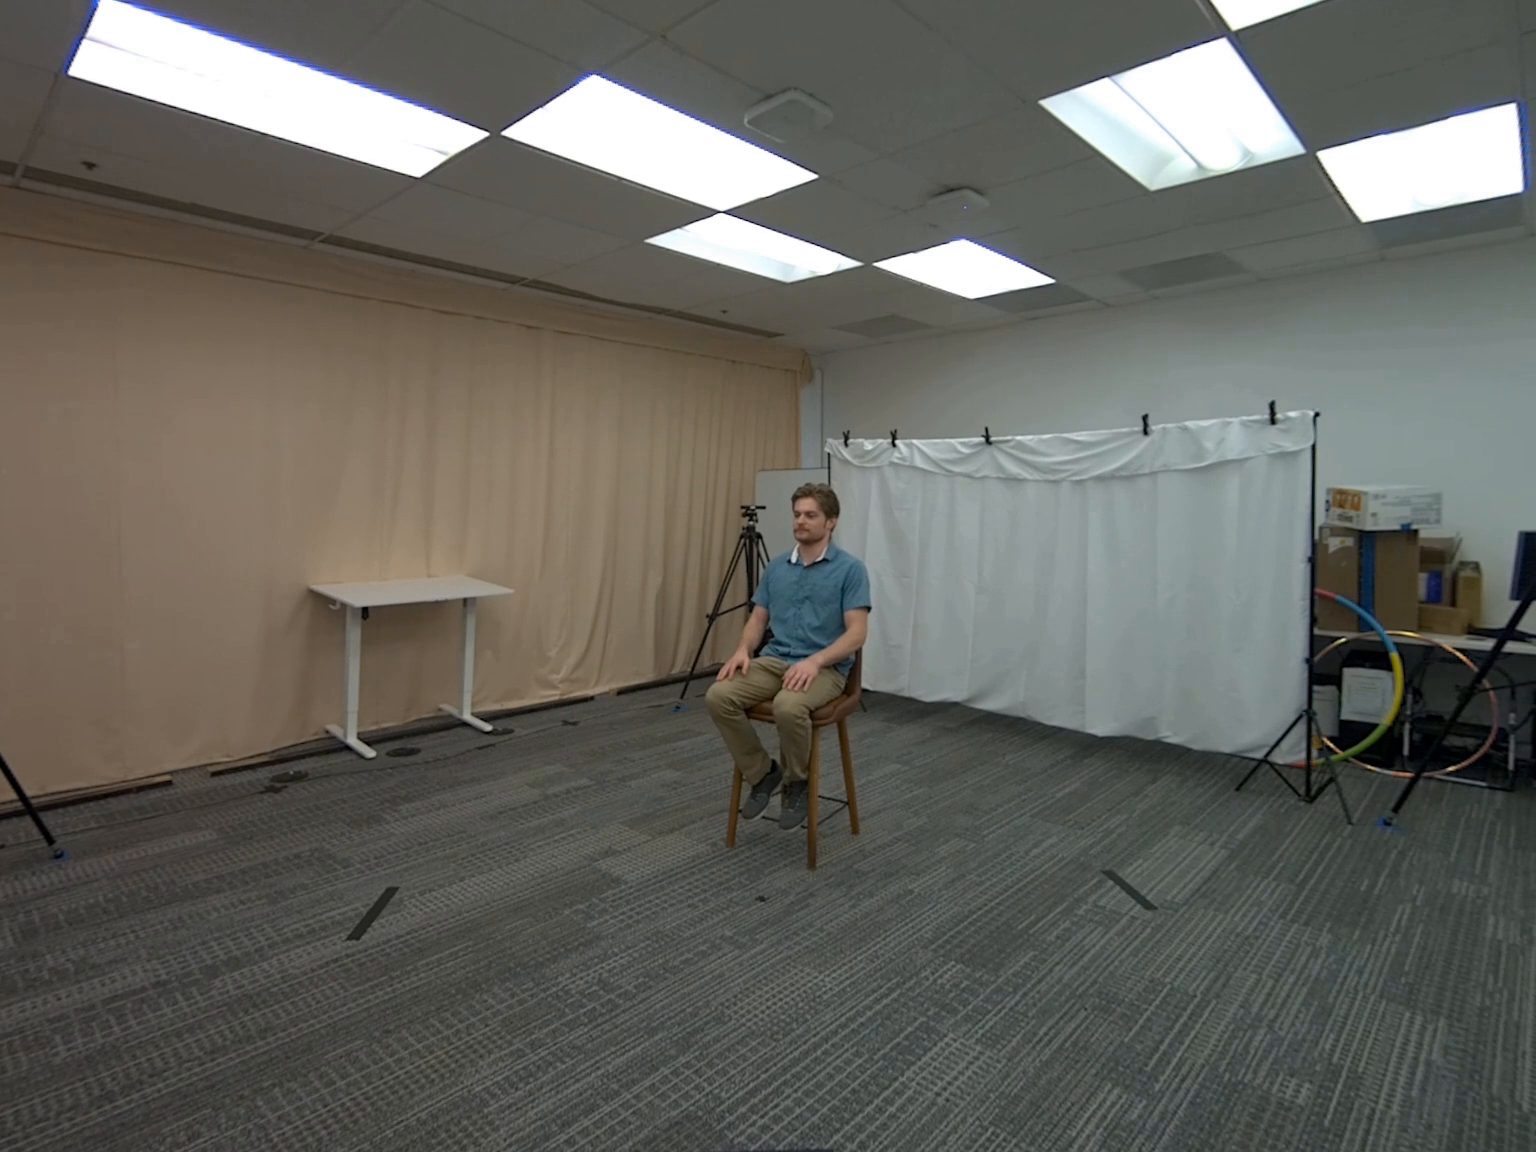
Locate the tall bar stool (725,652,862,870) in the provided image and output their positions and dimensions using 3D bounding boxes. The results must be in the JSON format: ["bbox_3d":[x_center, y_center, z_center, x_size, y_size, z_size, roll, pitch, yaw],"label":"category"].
[{"bbox_3d":[0.130,0.664,3.496,0.471,0.889,0.454,3,2,34],"label":"tall bar stool"}]
